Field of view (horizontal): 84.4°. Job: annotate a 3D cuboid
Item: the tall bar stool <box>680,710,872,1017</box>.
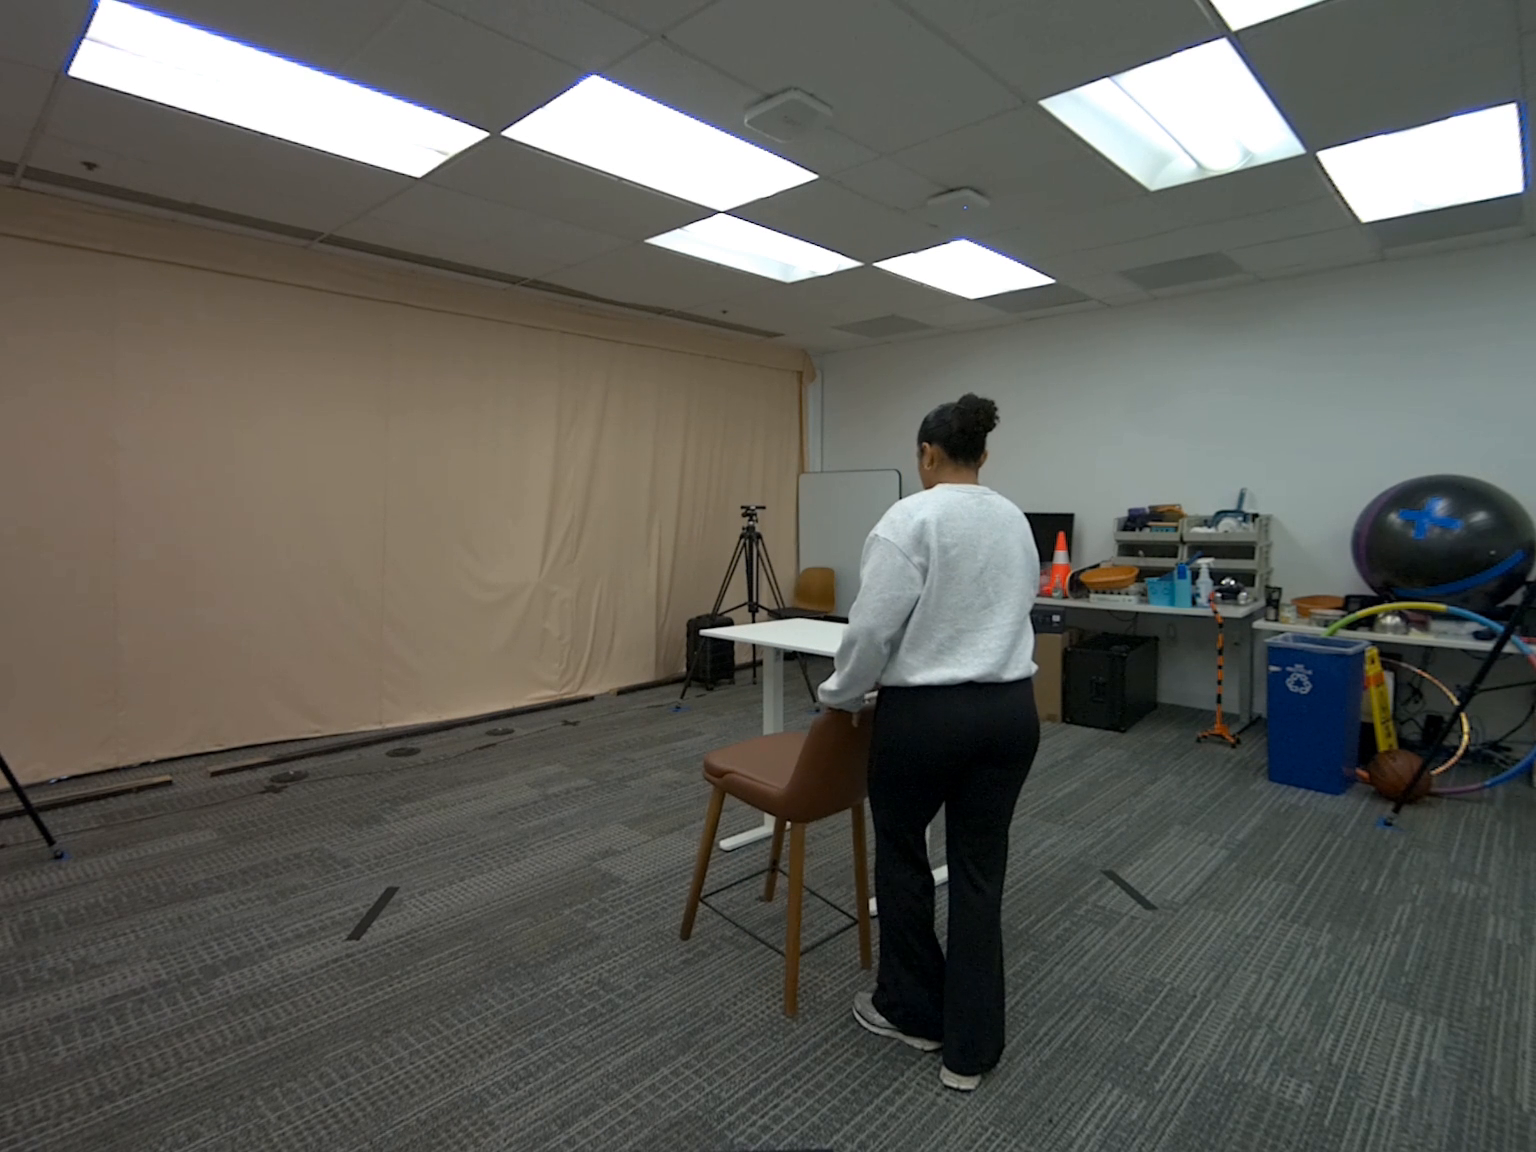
[{"bbox_3d":[0.076,0.722,2.503,0.442,0.885,0.485,-3,15,-45],"label":"tall bar stool"}]
